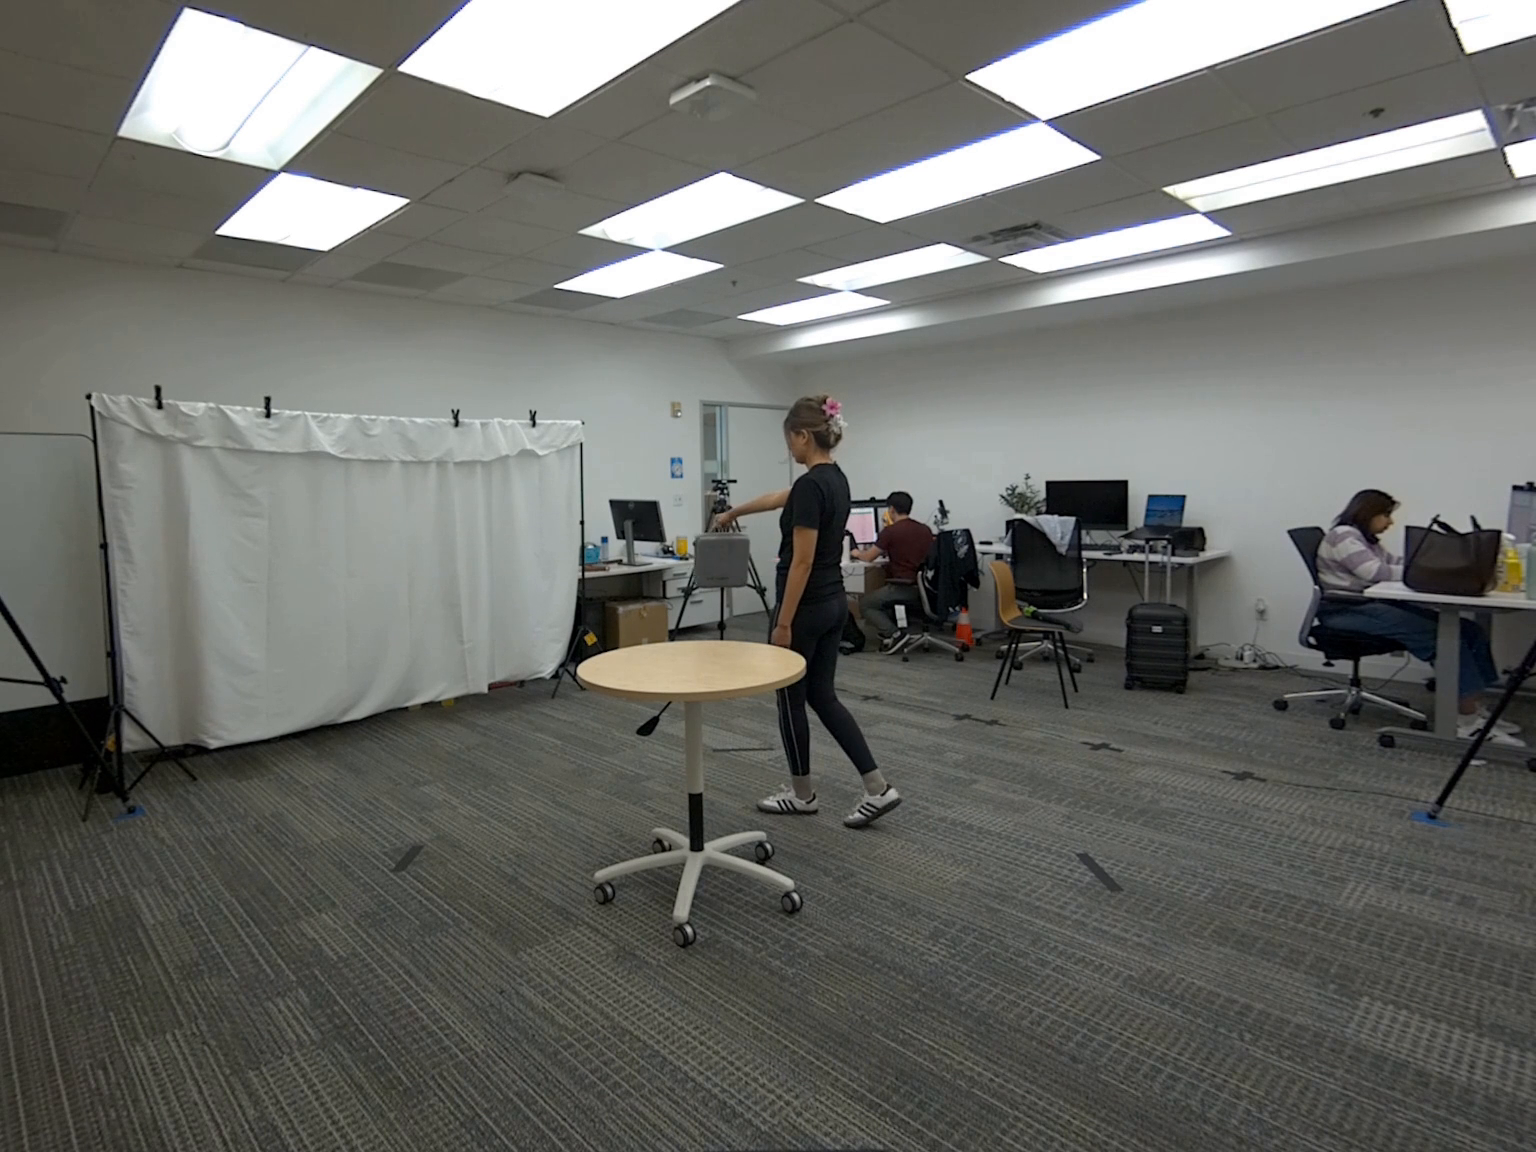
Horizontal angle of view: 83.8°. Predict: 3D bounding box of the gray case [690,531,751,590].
[{"bbox_3d":[-0.218,-0.075,3.999,0.253,0.257,0.107,2,15,-13],"label":"gray case"}]
